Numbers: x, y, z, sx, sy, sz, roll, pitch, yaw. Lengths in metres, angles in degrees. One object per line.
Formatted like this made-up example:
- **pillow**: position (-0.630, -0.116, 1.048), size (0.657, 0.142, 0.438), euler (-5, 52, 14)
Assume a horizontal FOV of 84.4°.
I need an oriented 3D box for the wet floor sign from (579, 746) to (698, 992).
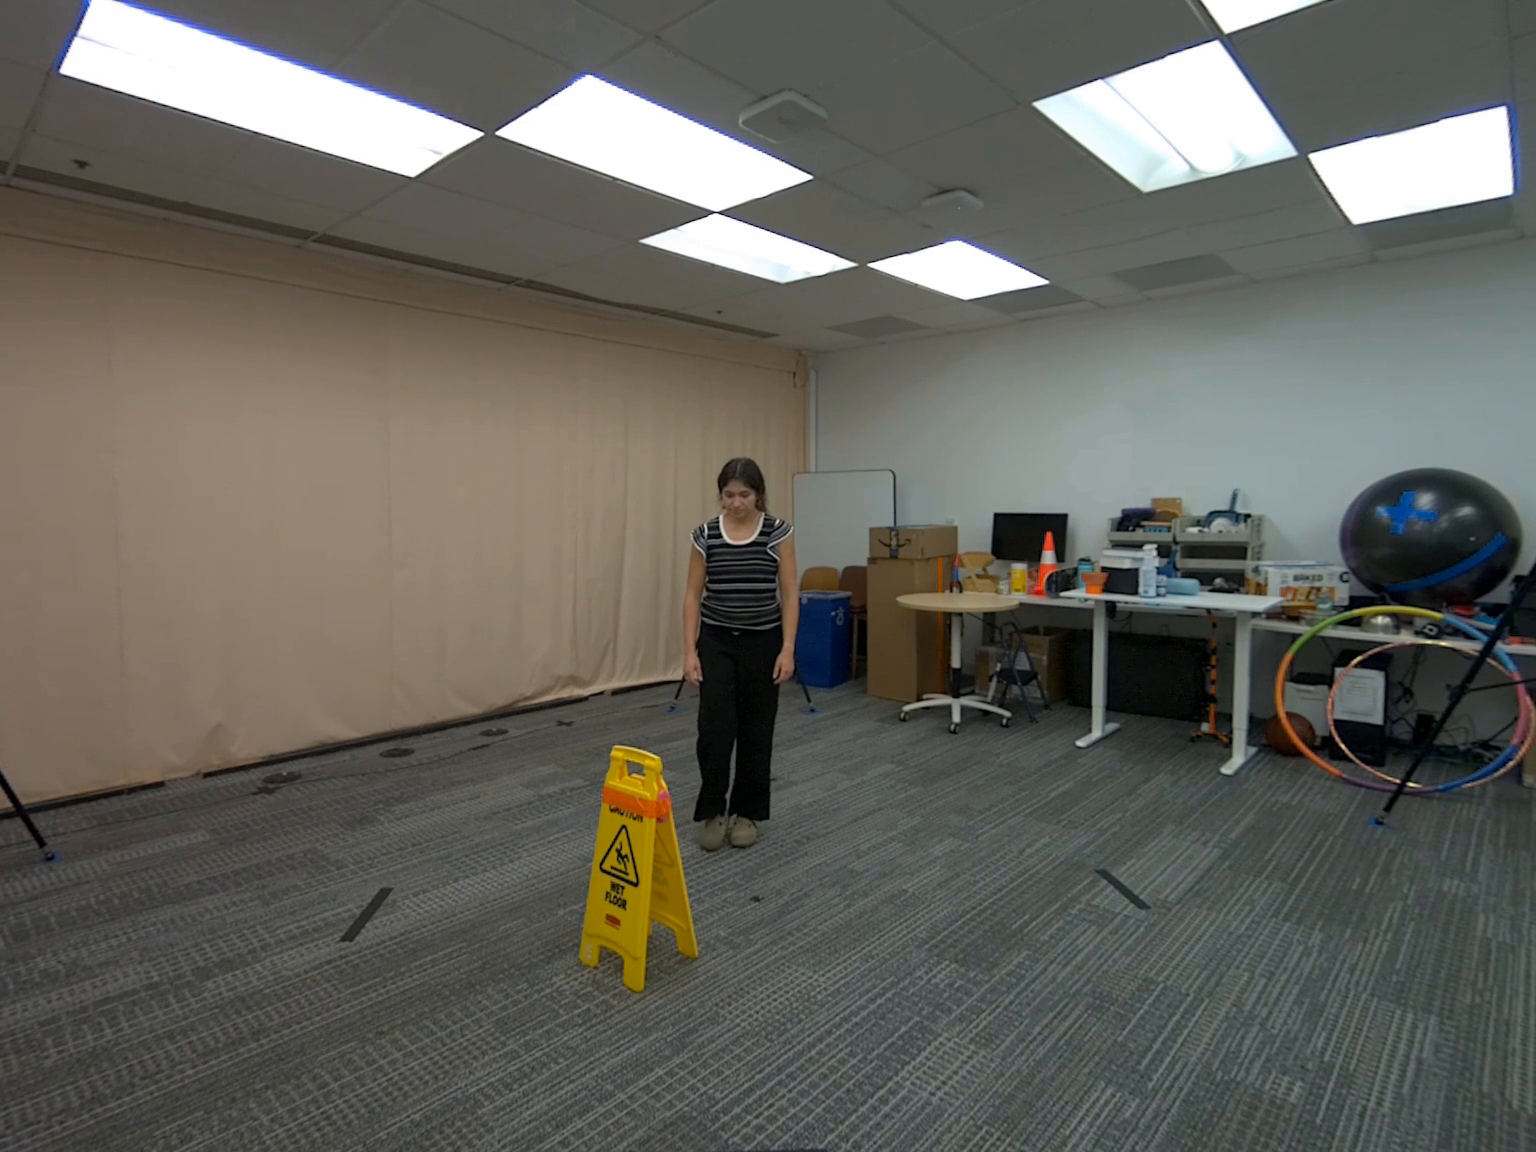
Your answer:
- **wet floor sign**: position (-0.402, 0.859, 2.567), size (0.291, 0.644, 0.281), euler (2, 5, 39)
